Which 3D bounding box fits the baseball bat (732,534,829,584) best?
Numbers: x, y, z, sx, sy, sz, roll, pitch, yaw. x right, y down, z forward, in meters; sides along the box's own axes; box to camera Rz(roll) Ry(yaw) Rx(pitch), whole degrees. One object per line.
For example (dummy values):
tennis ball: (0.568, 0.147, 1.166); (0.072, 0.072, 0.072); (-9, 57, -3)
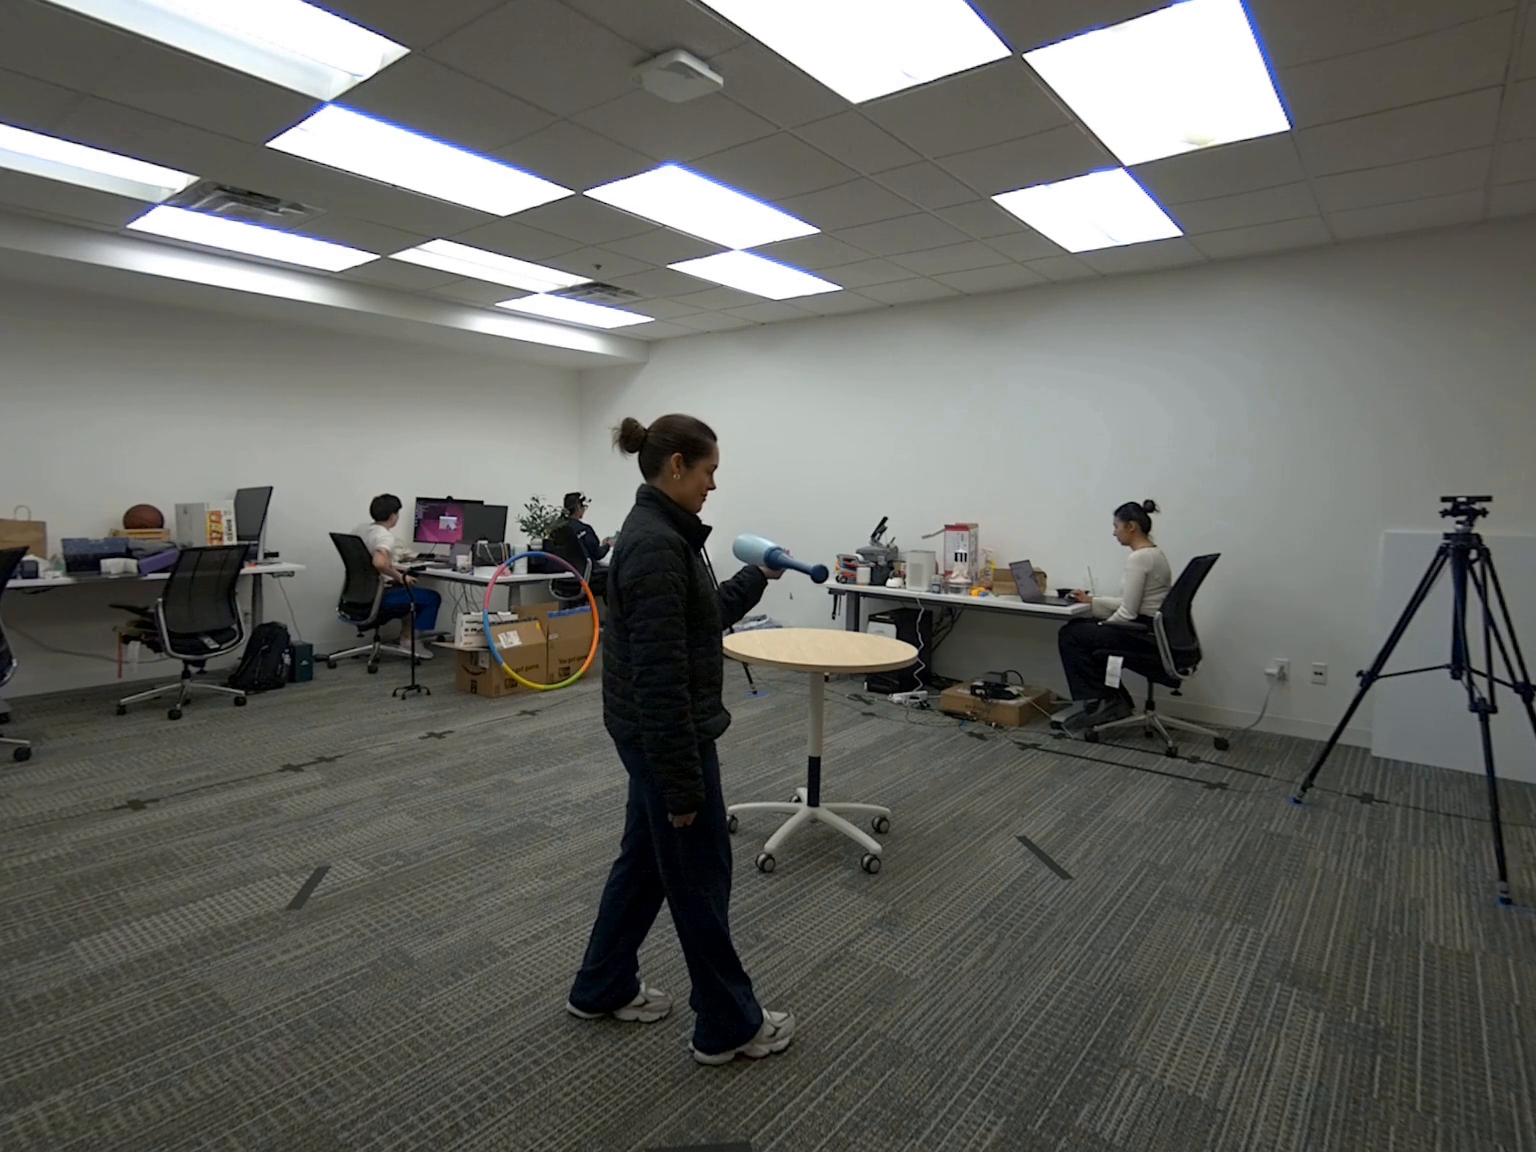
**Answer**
baseball bat: (0.030, -0.049, 2.368); (0.087, 0.088, 0.558); (-1, 10, -20)
